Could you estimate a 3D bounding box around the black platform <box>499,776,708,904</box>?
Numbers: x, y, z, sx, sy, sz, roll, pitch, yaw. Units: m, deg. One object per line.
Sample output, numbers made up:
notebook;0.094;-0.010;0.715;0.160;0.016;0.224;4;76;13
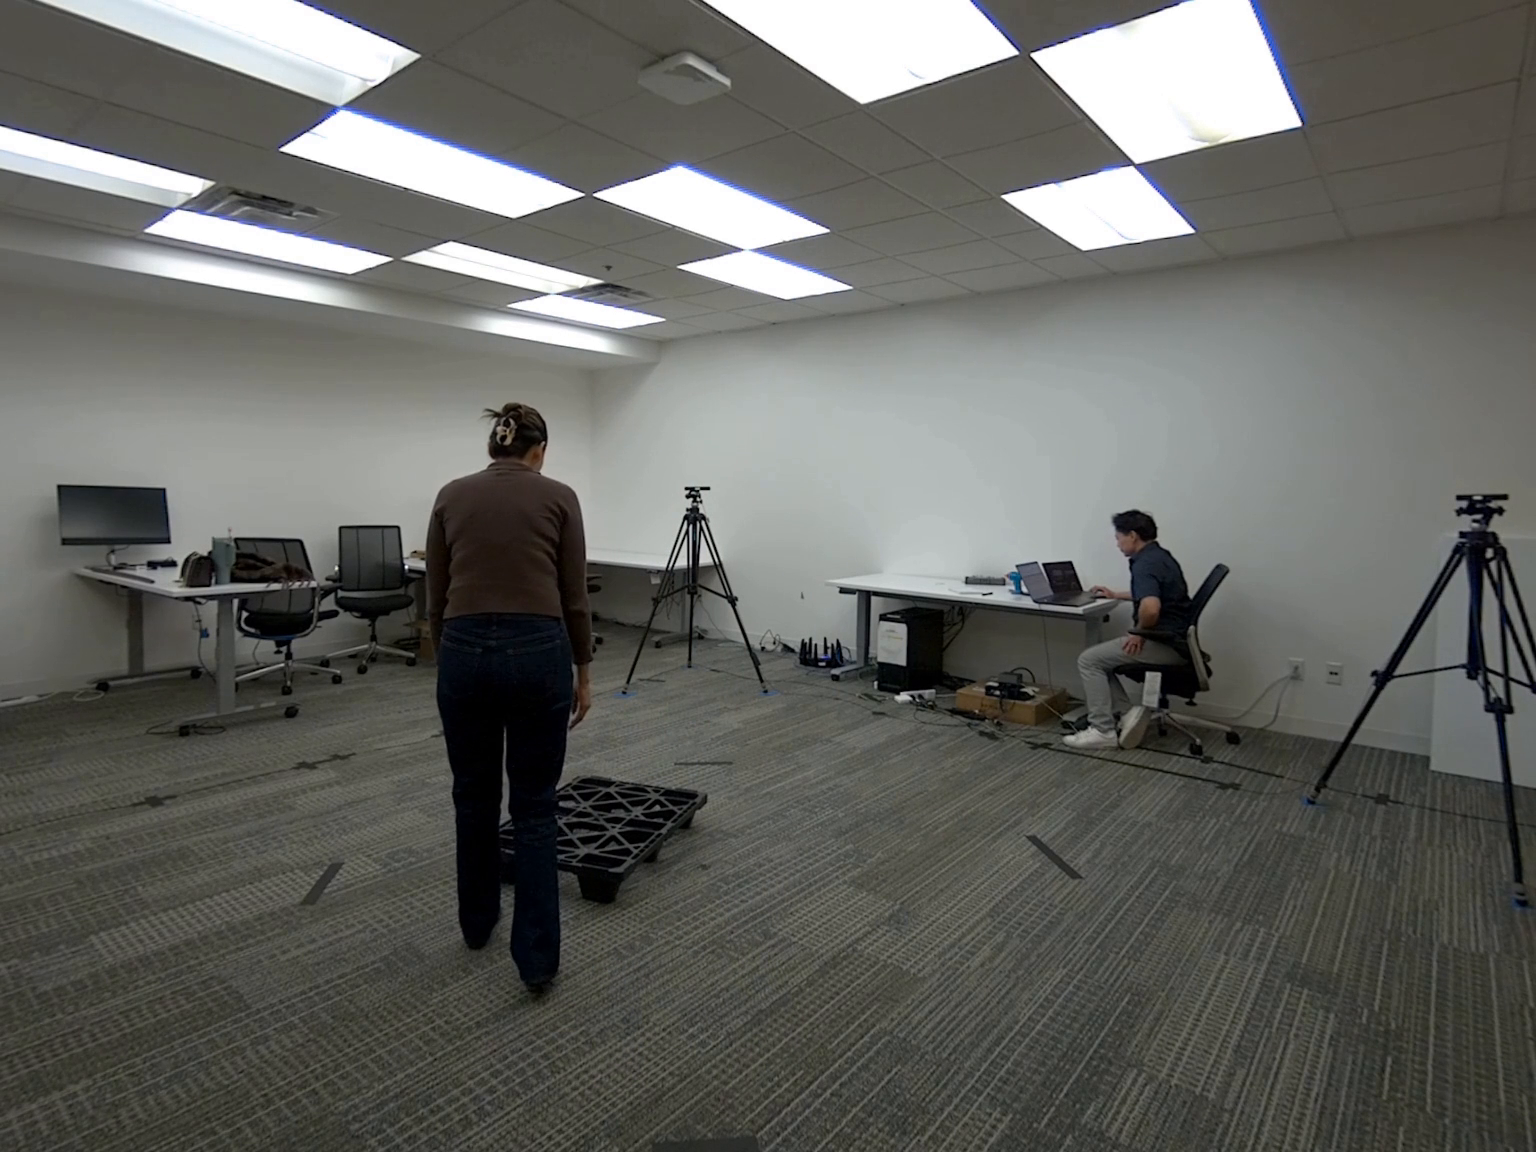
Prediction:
black platform;-0.658;0.978;3.241;0.618;0.143;0.792;2;5;18
